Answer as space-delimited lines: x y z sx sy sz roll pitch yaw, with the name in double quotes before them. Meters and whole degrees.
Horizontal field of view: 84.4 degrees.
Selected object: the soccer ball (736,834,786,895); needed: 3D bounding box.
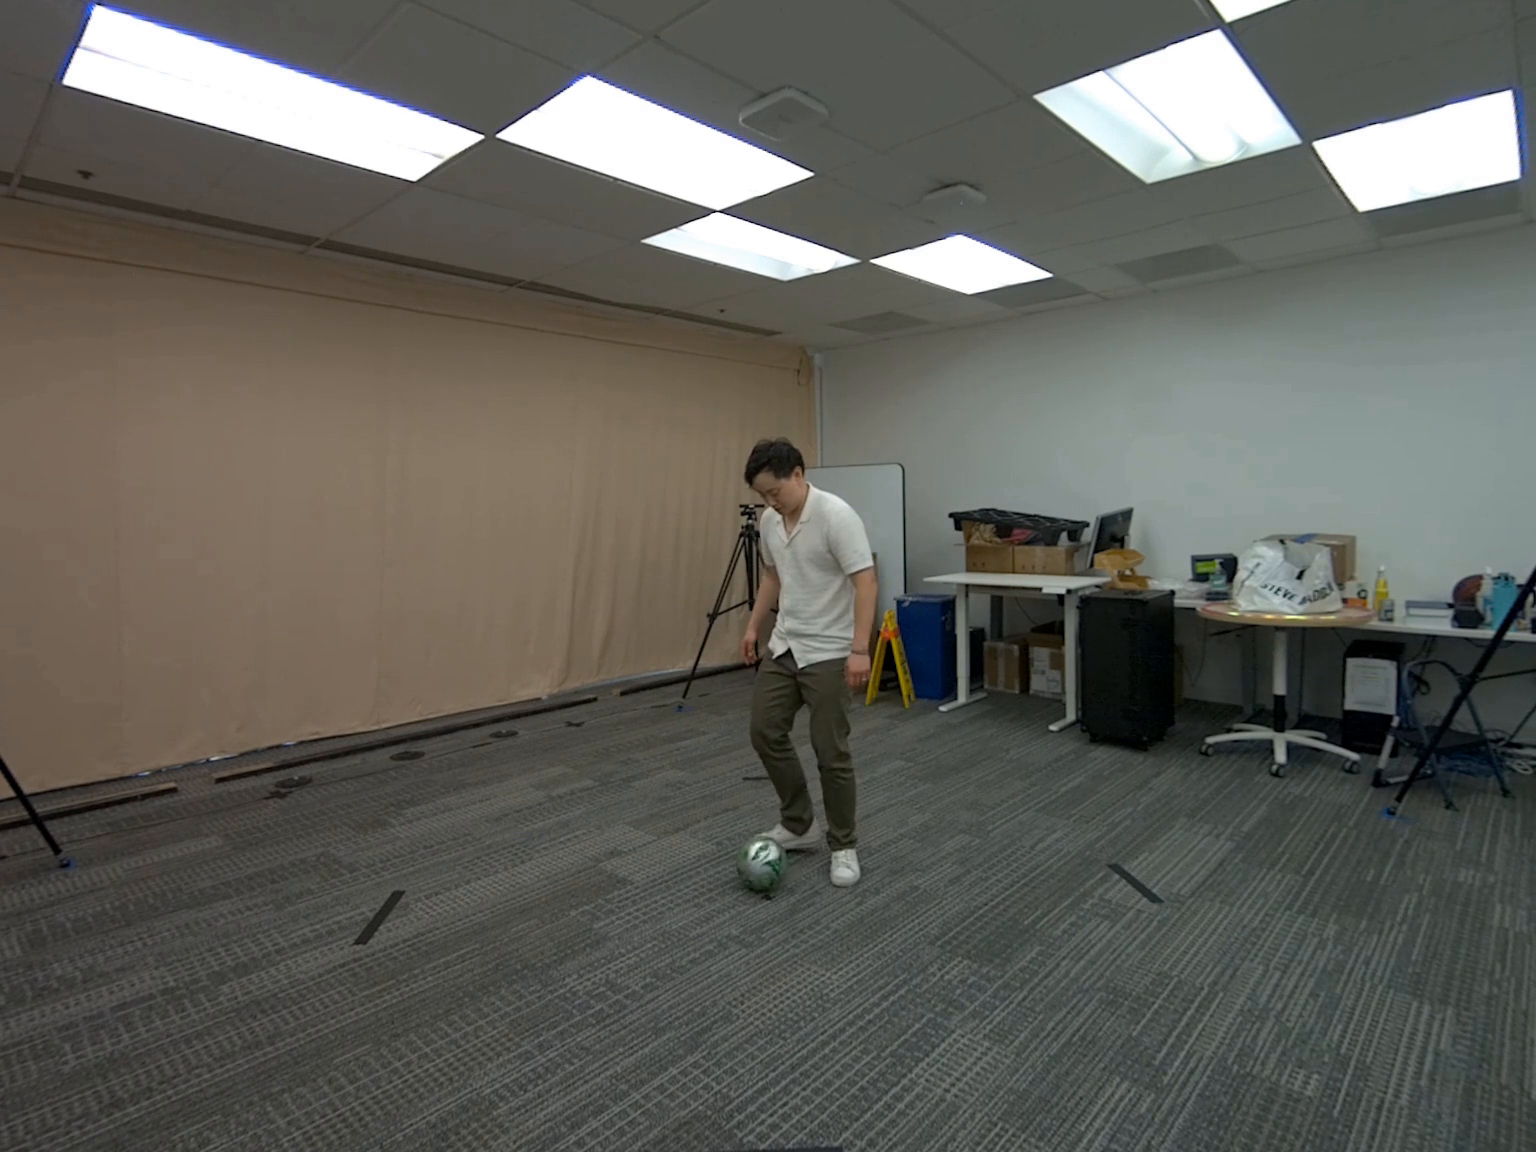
"soccer ball" -0.020 1.037 3.053 0.187 0.187 0.188 -1 4 -2
